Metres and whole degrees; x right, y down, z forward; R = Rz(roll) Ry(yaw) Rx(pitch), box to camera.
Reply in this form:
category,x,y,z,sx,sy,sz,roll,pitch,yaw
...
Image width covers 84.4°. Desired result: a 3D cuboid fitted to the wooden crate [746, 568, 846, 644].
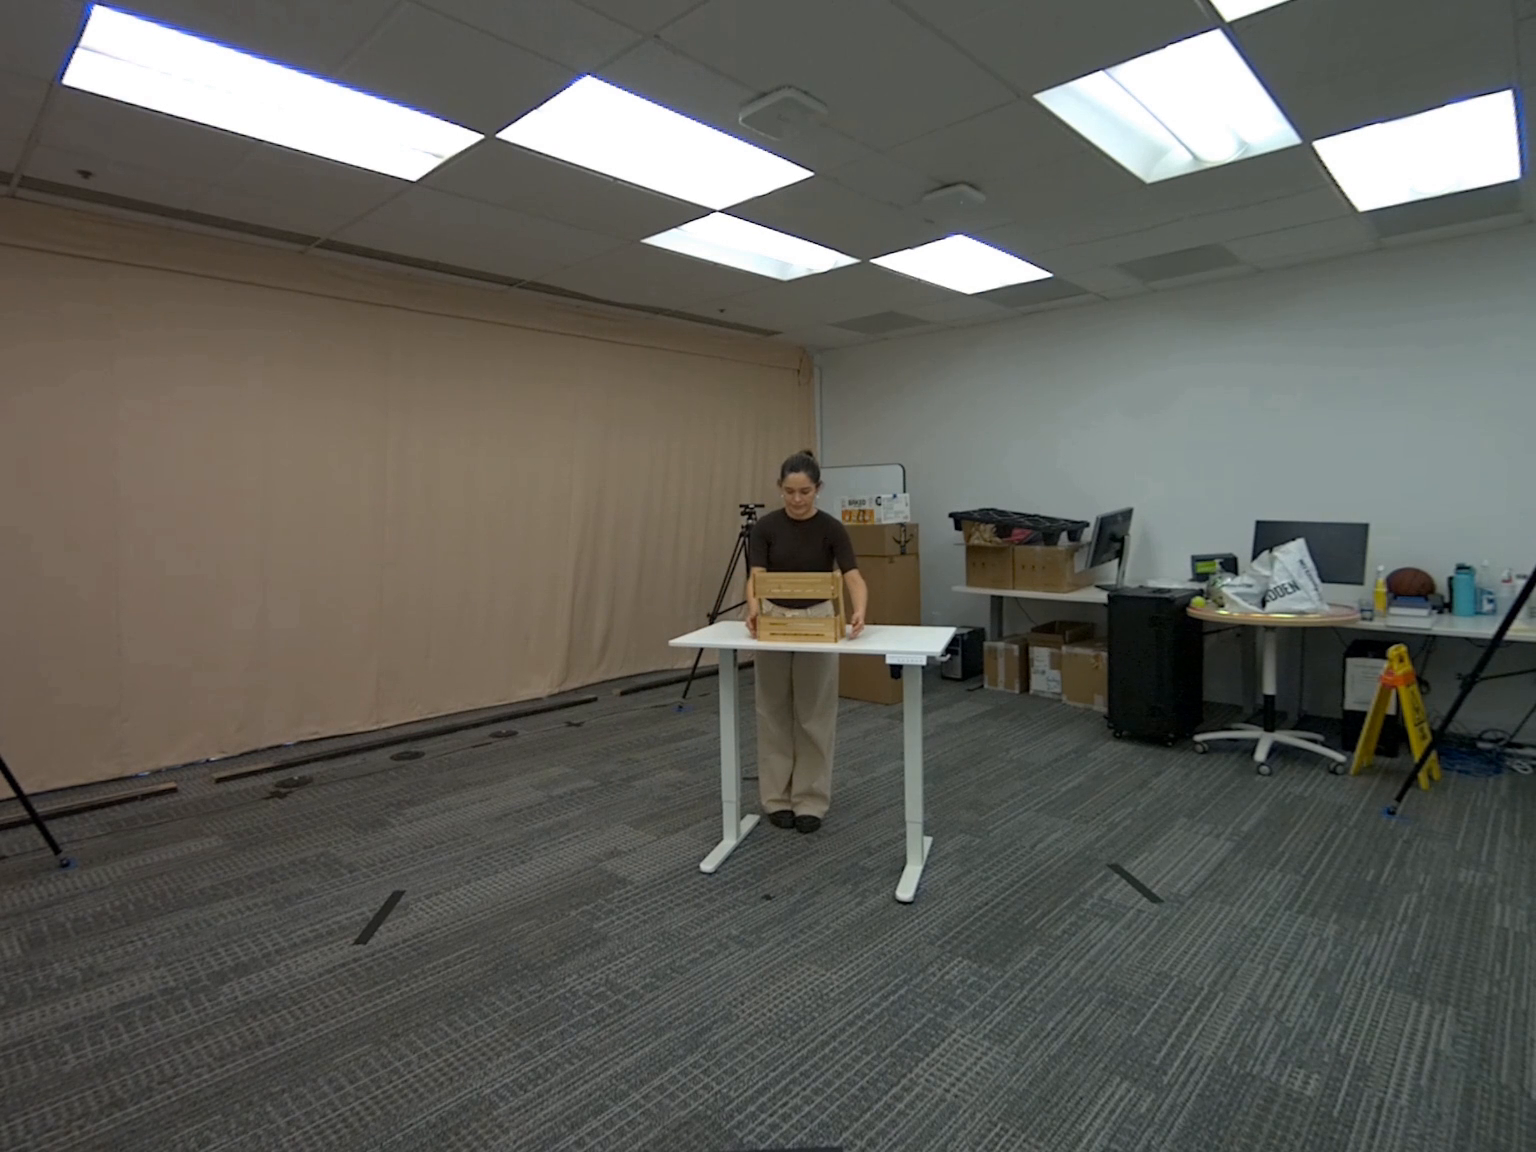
category,x,y,z,sx,sy,sz,roll,pitch,yaw
wooden crate,0.129,0.108,3.206,0.330,0.273,0.297,0,1,15
